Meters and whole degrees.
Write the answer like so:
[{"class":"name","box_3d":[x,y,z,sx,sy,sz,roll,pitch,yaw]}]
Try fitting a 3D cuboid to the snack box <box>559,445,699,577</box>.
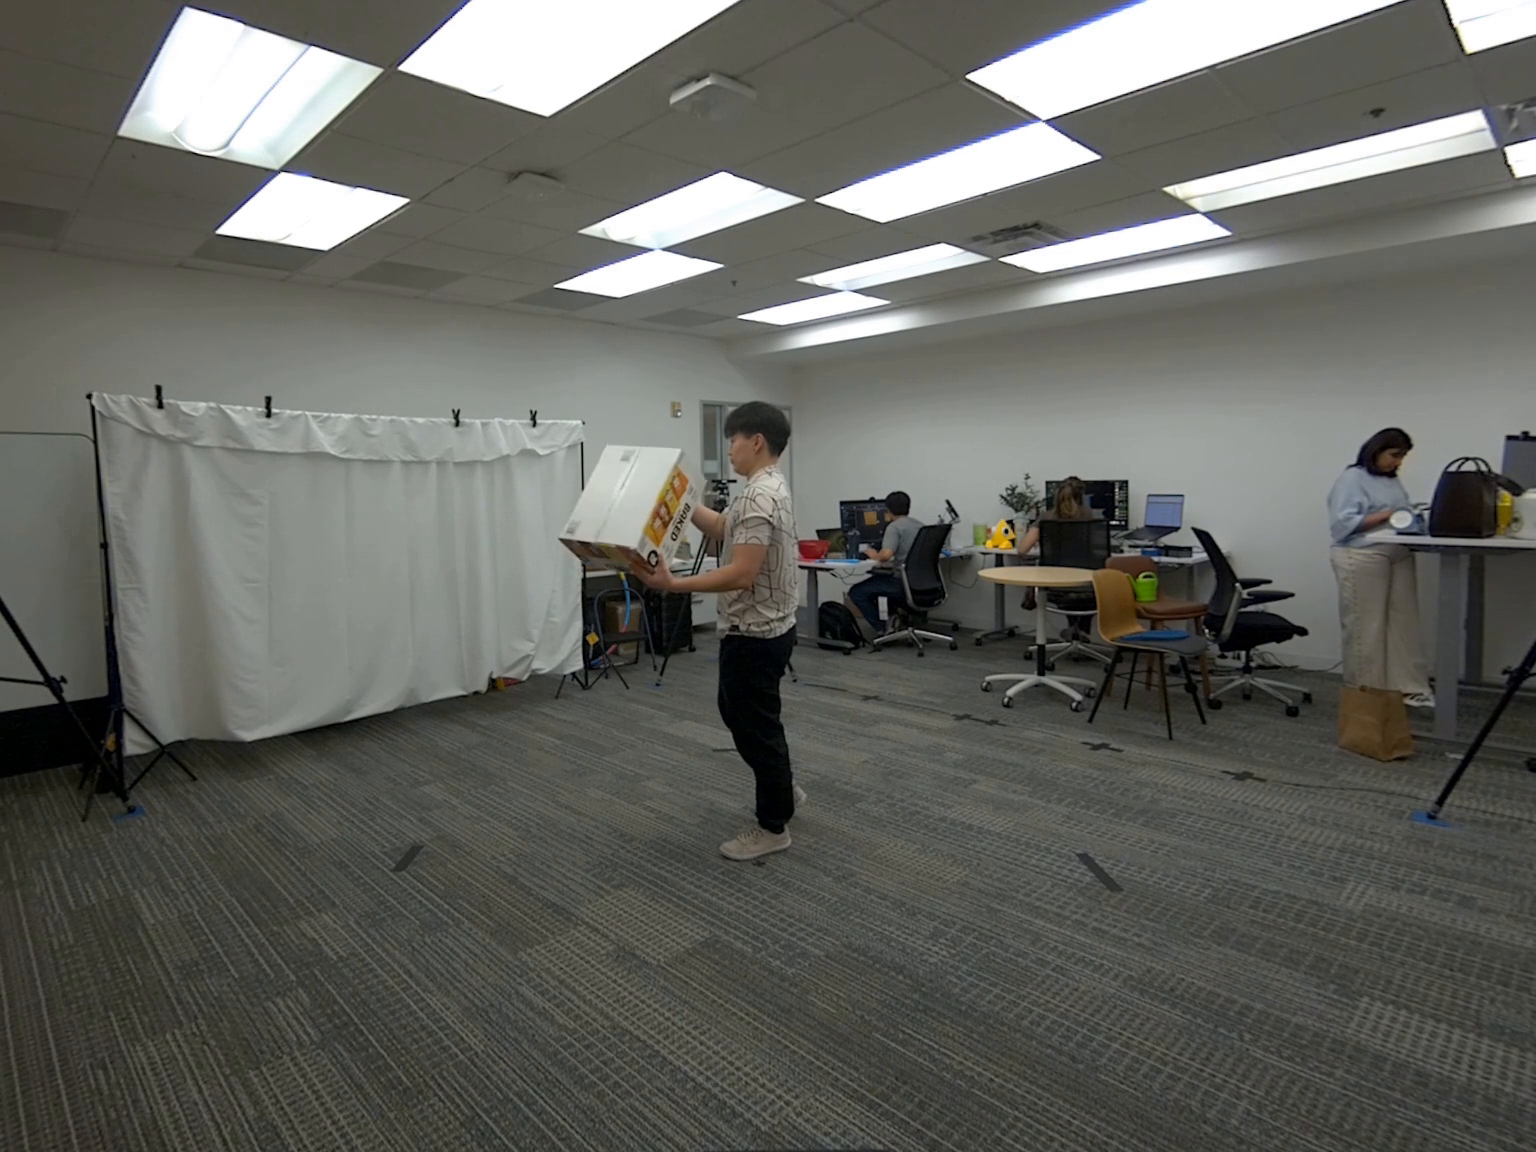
[{"class":"snack box","box_3d":[-0.465,-0.230,2.994,0.350,0.409,0.198,7,-27,30]}]
